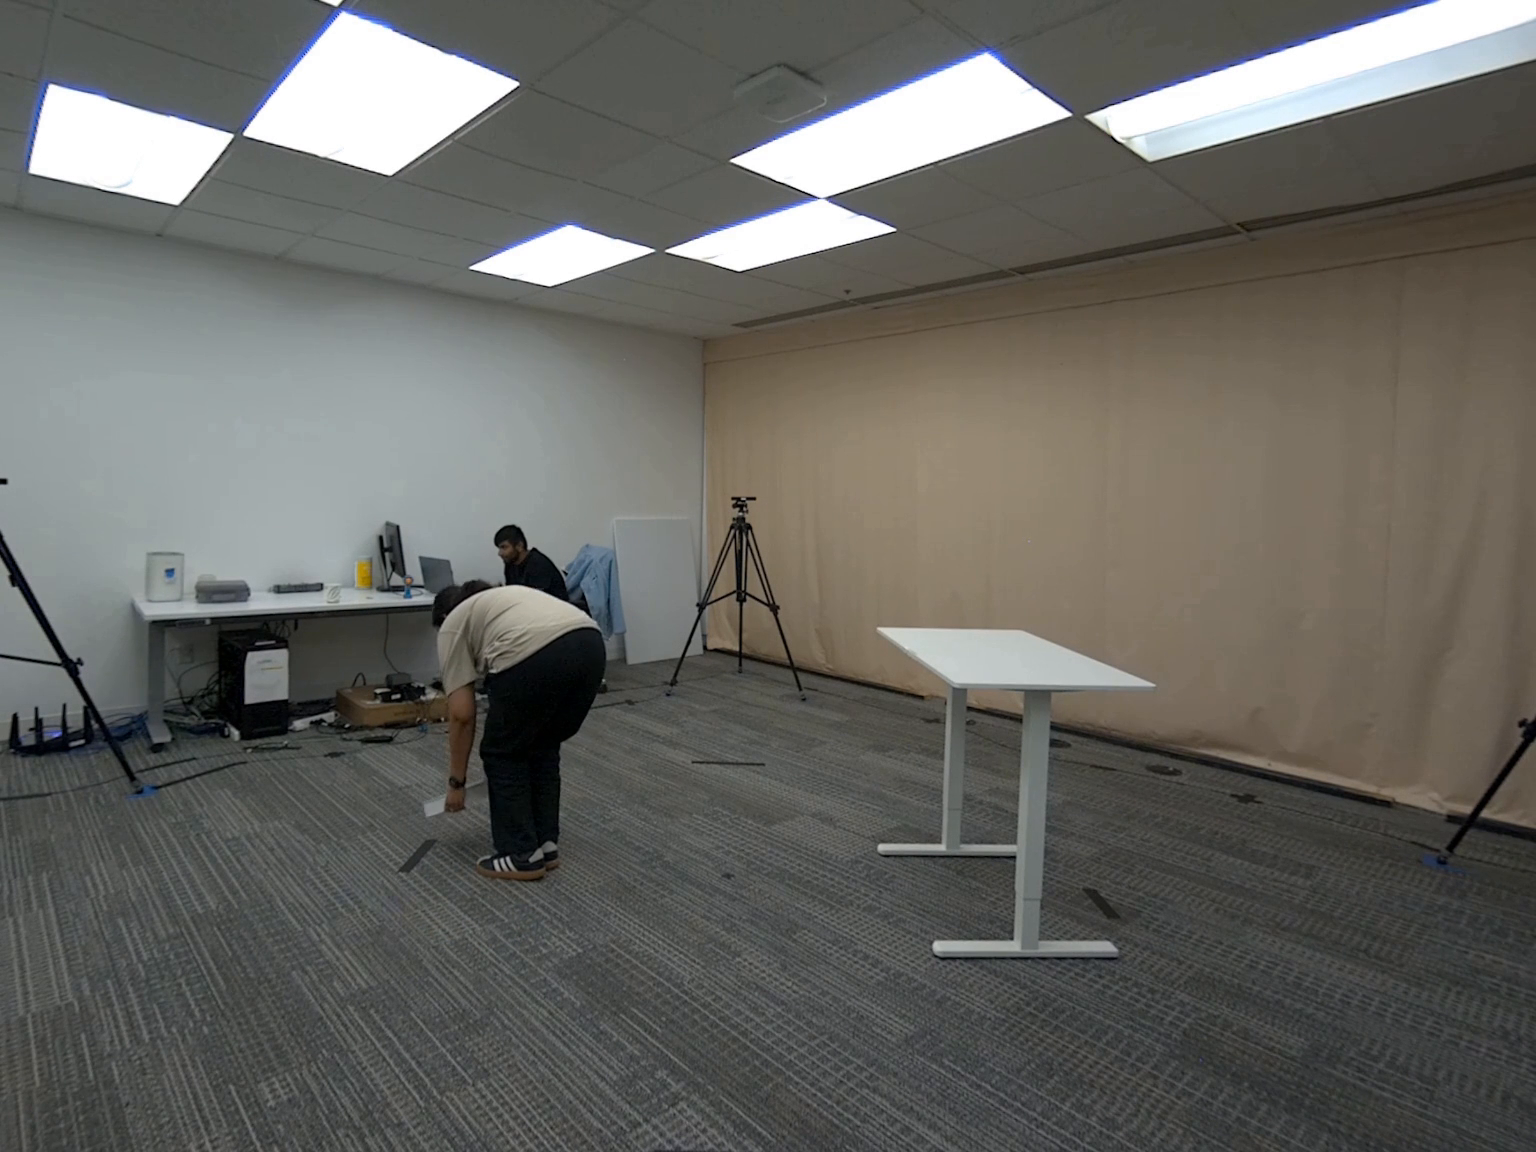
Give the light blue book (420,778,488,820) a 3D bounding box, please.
[{"bbox_3d":[-1.191,0.858,3.302,0.193,0.059,0.257,-20,-4,15],"label":"light blue book"}]
